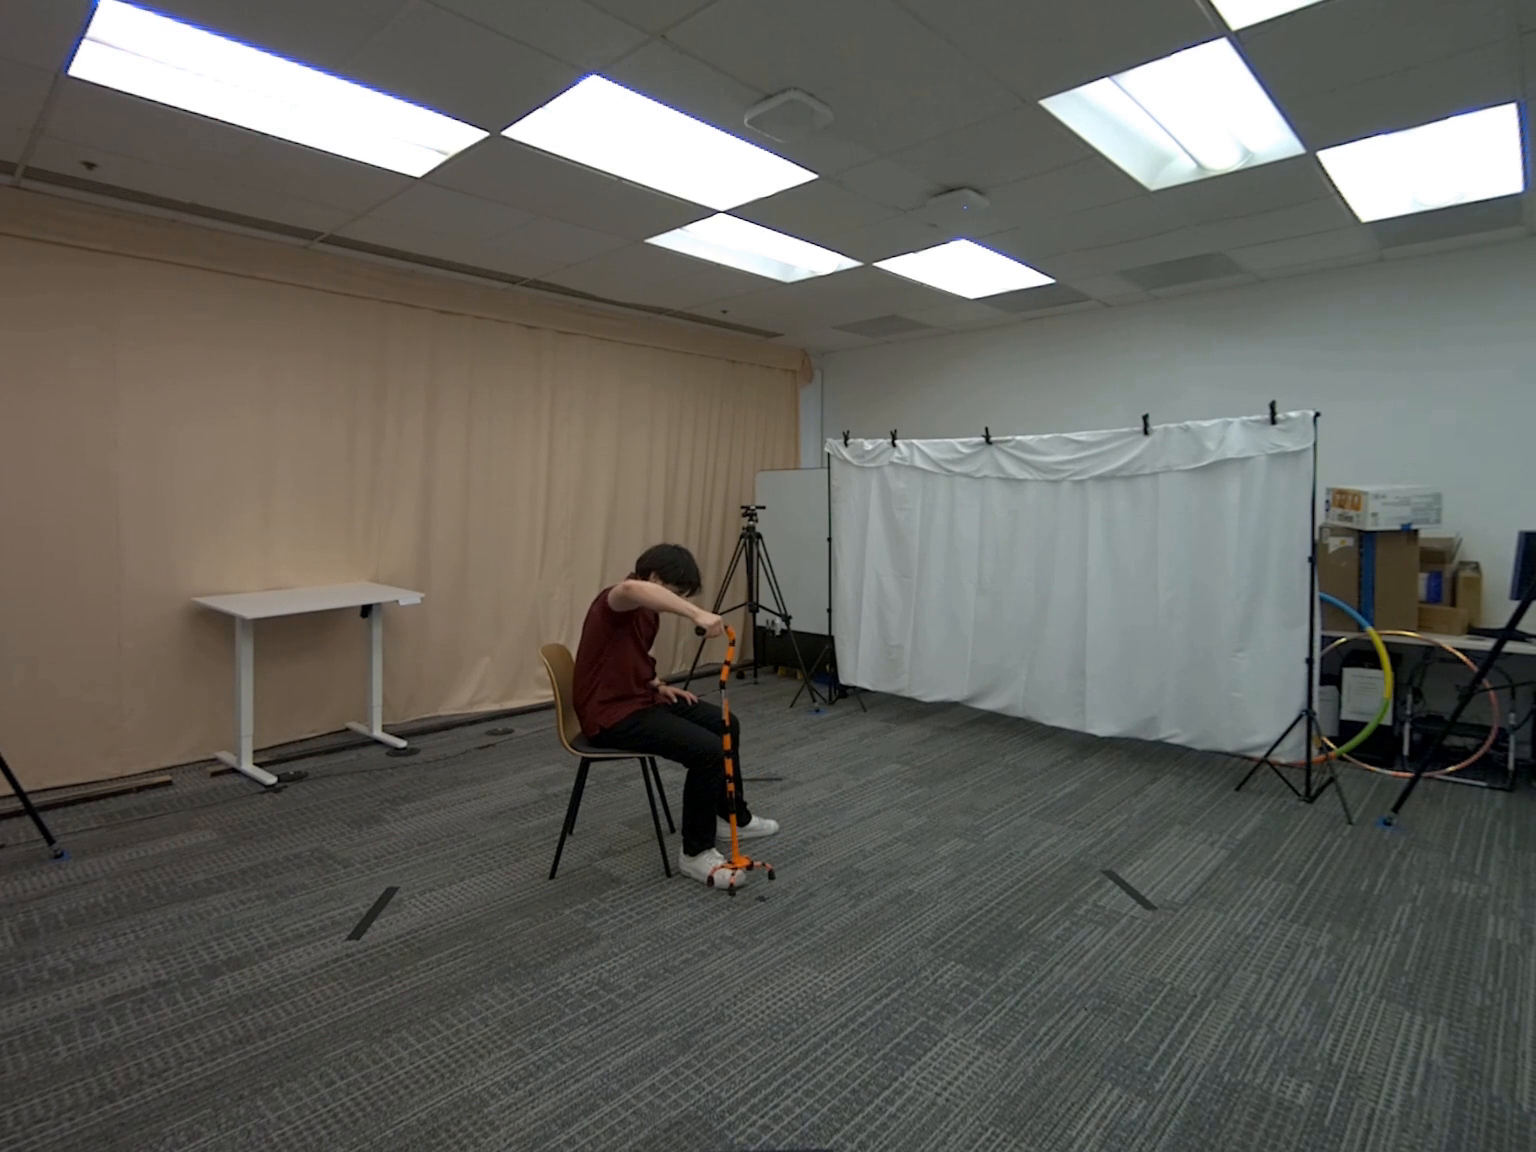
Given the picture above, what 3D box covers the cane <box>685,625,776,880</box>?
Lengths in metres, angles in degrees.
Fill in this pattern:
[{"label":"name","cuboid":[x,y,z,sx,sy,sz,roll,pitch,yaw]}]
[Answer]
[{"label":"cane","cuboid":[-0.122,0.621,2.939,0.200,0.906,0.156,-6,3,-44]}]
